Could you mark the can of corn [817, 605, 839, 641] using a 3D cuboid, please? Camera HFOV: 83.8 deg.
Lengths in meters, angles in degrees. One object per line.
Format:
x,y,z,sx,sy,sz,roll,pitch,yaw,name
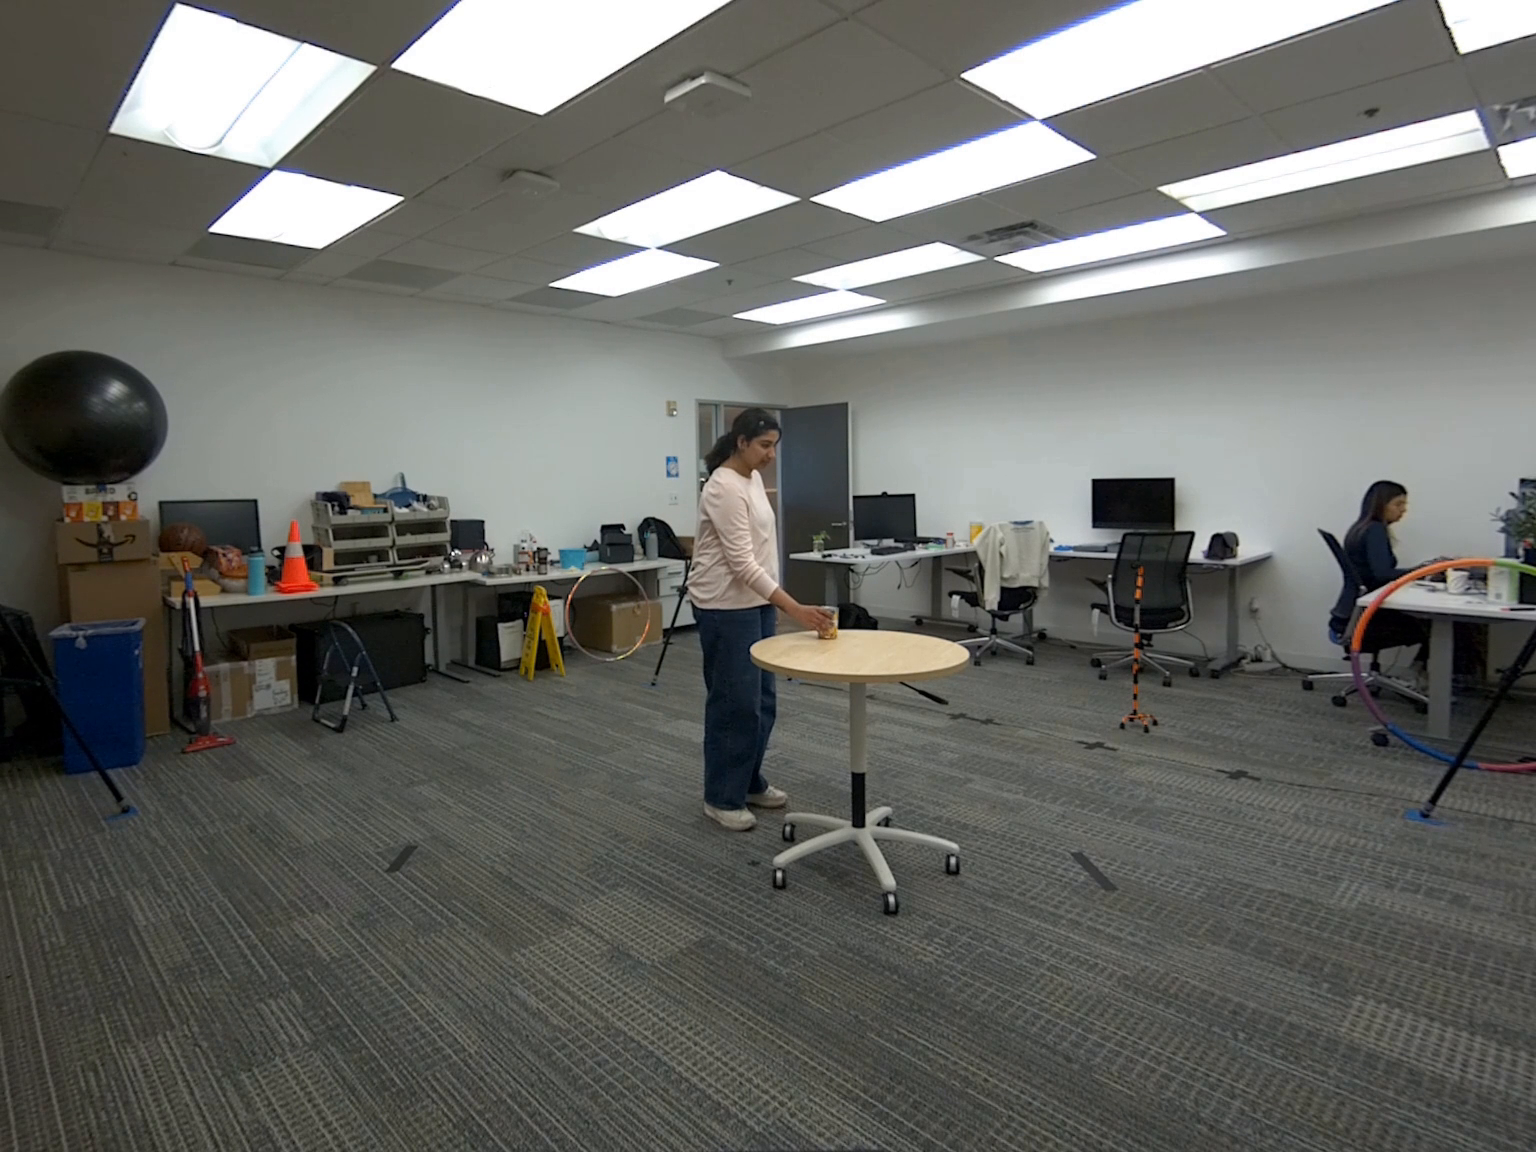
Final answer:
0.231,0.169,3.251,0.074,0.111,0.074,1,4,-2,can of corn
